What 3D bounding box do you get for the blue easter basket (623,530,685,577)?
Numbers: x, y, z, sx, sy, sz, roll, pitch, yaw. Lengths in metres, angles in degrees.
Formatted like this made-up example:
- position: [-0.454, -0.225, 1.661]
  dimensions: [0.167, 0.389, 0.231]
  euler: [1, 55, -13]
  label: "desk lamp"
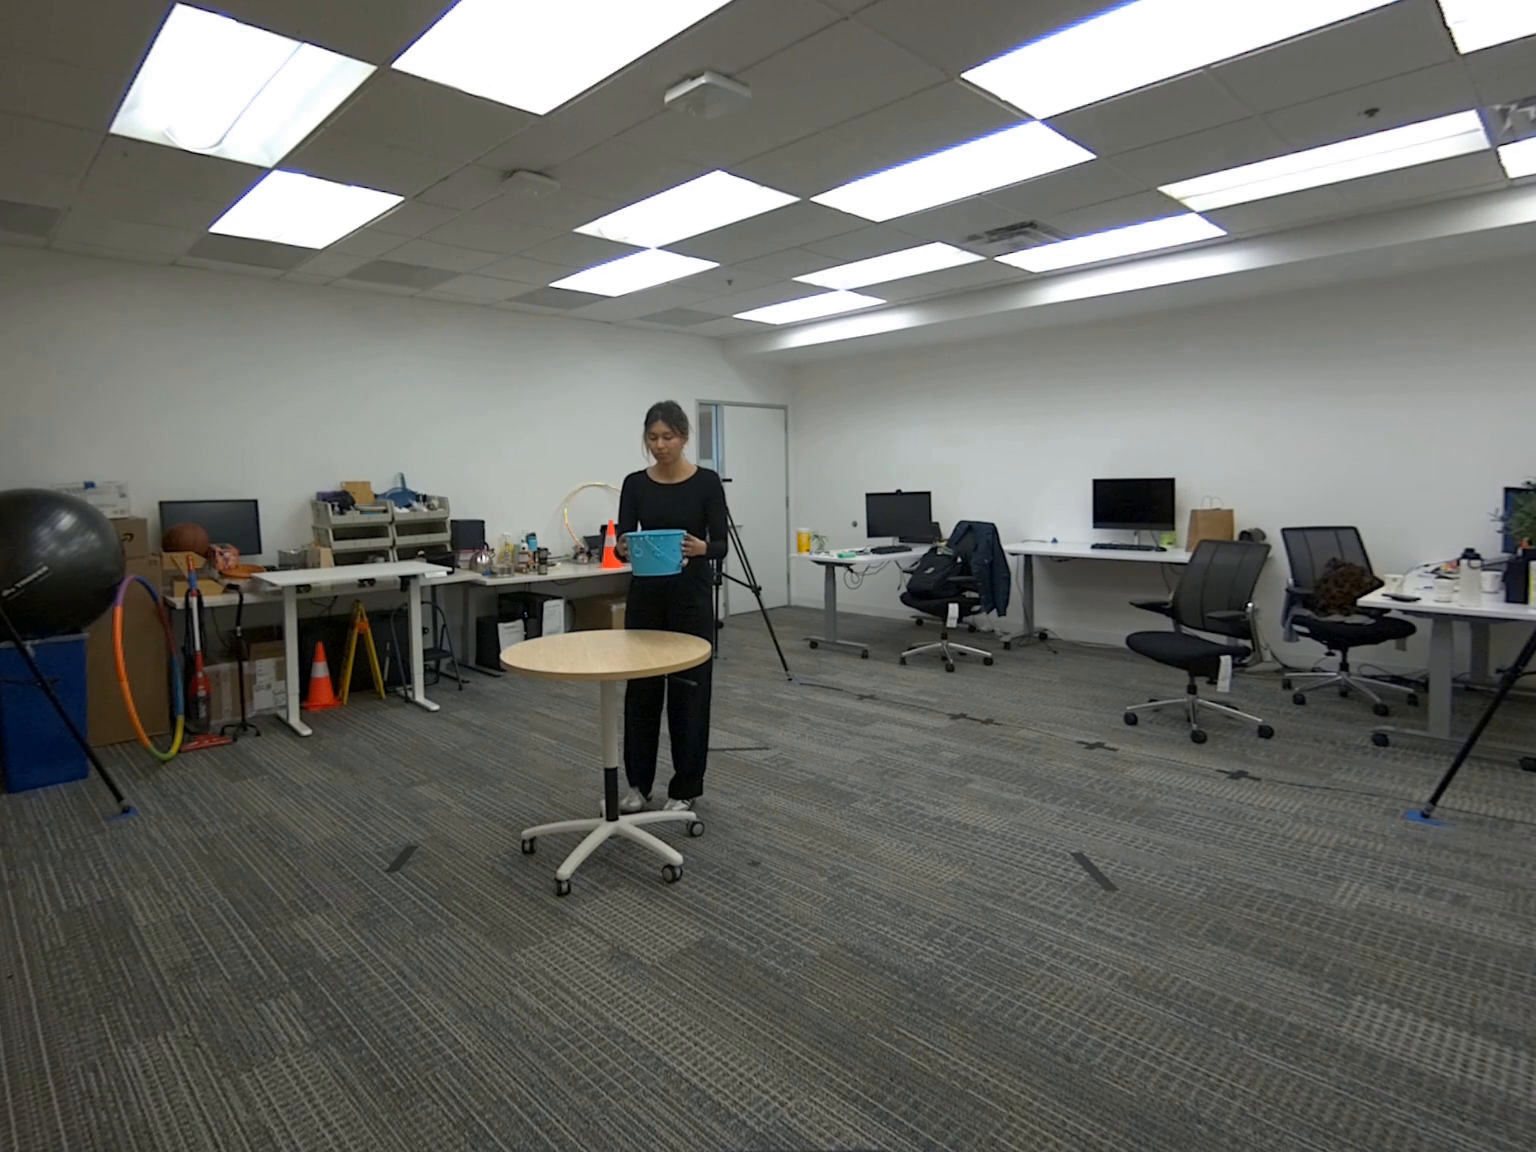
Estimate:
- position: [-0.410, -0.083, 3.189]
  dimensions: [0.243, 0.155, 0.245]
  euler: [-4, 6, -1]
  label: "blue easter basket"
